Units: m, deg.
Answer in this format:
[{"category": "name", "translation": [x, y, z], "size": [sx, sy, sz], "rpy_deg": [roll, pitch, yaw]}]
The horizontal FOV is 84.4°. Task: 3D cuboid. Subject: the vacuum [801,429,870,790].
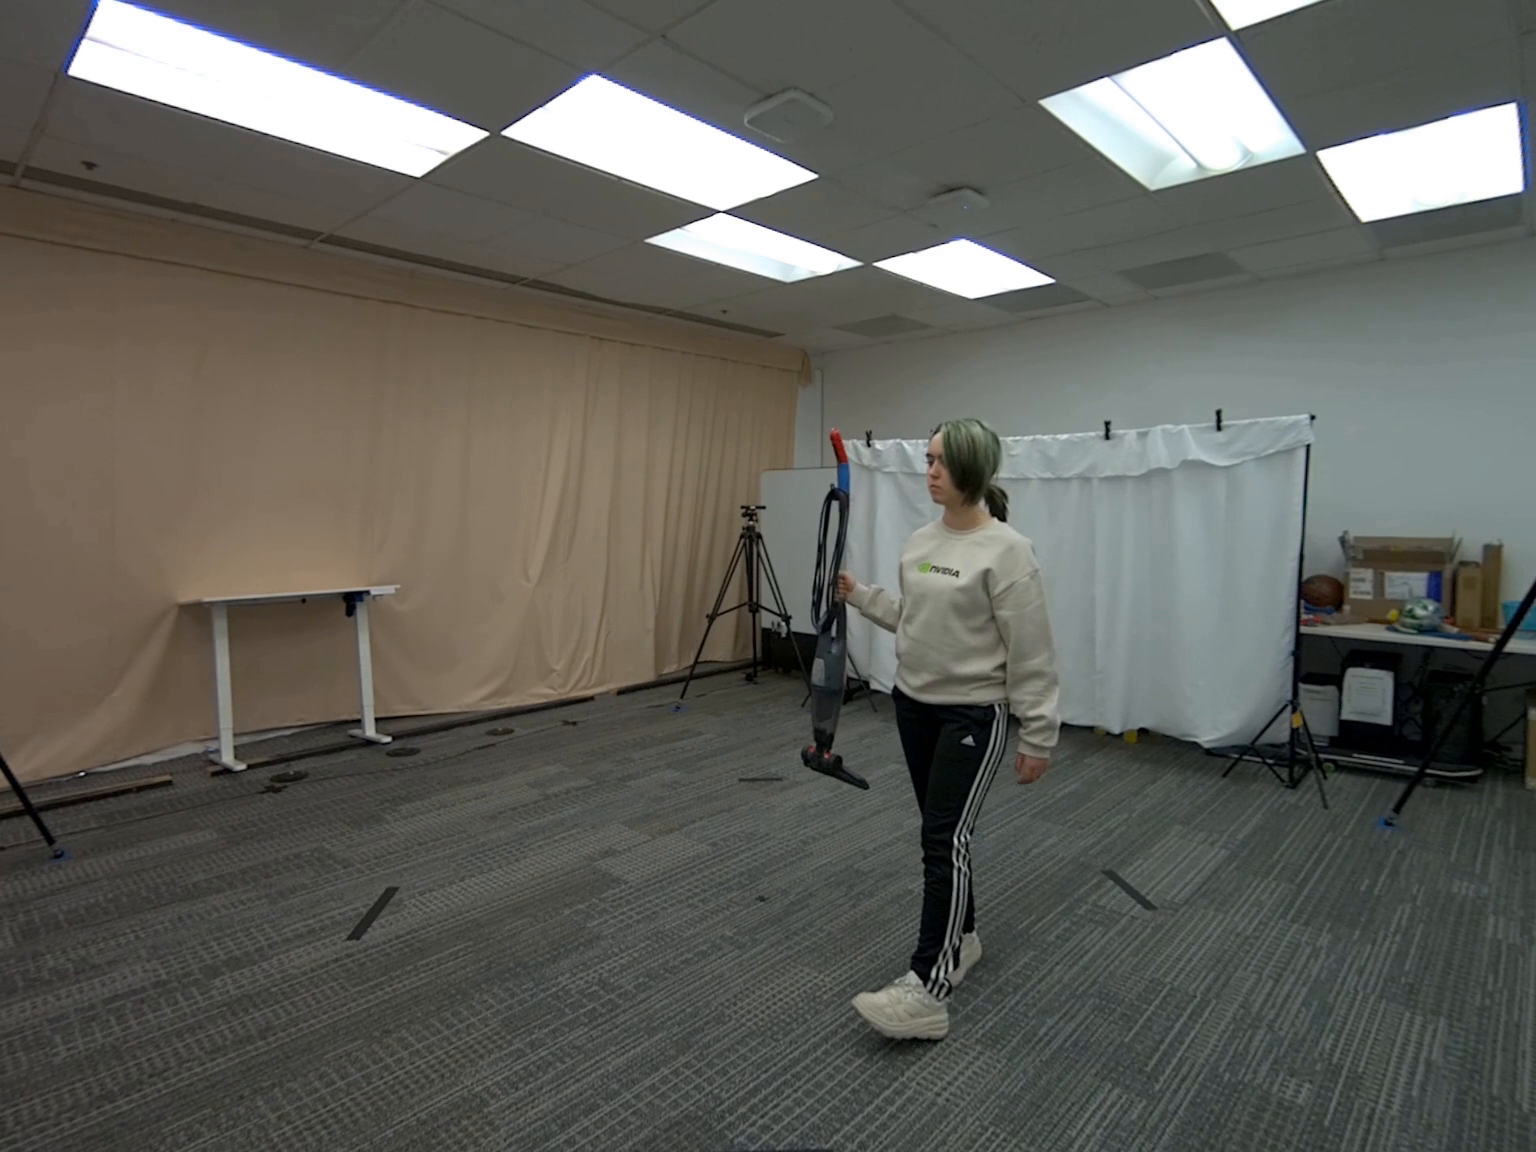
[{"category": "vacuum", "translation": [0.202, 0.089, 2.618], "size": [0.260, 1.045, 0.140], "rpy_deg": [4, 7, 33]}]
